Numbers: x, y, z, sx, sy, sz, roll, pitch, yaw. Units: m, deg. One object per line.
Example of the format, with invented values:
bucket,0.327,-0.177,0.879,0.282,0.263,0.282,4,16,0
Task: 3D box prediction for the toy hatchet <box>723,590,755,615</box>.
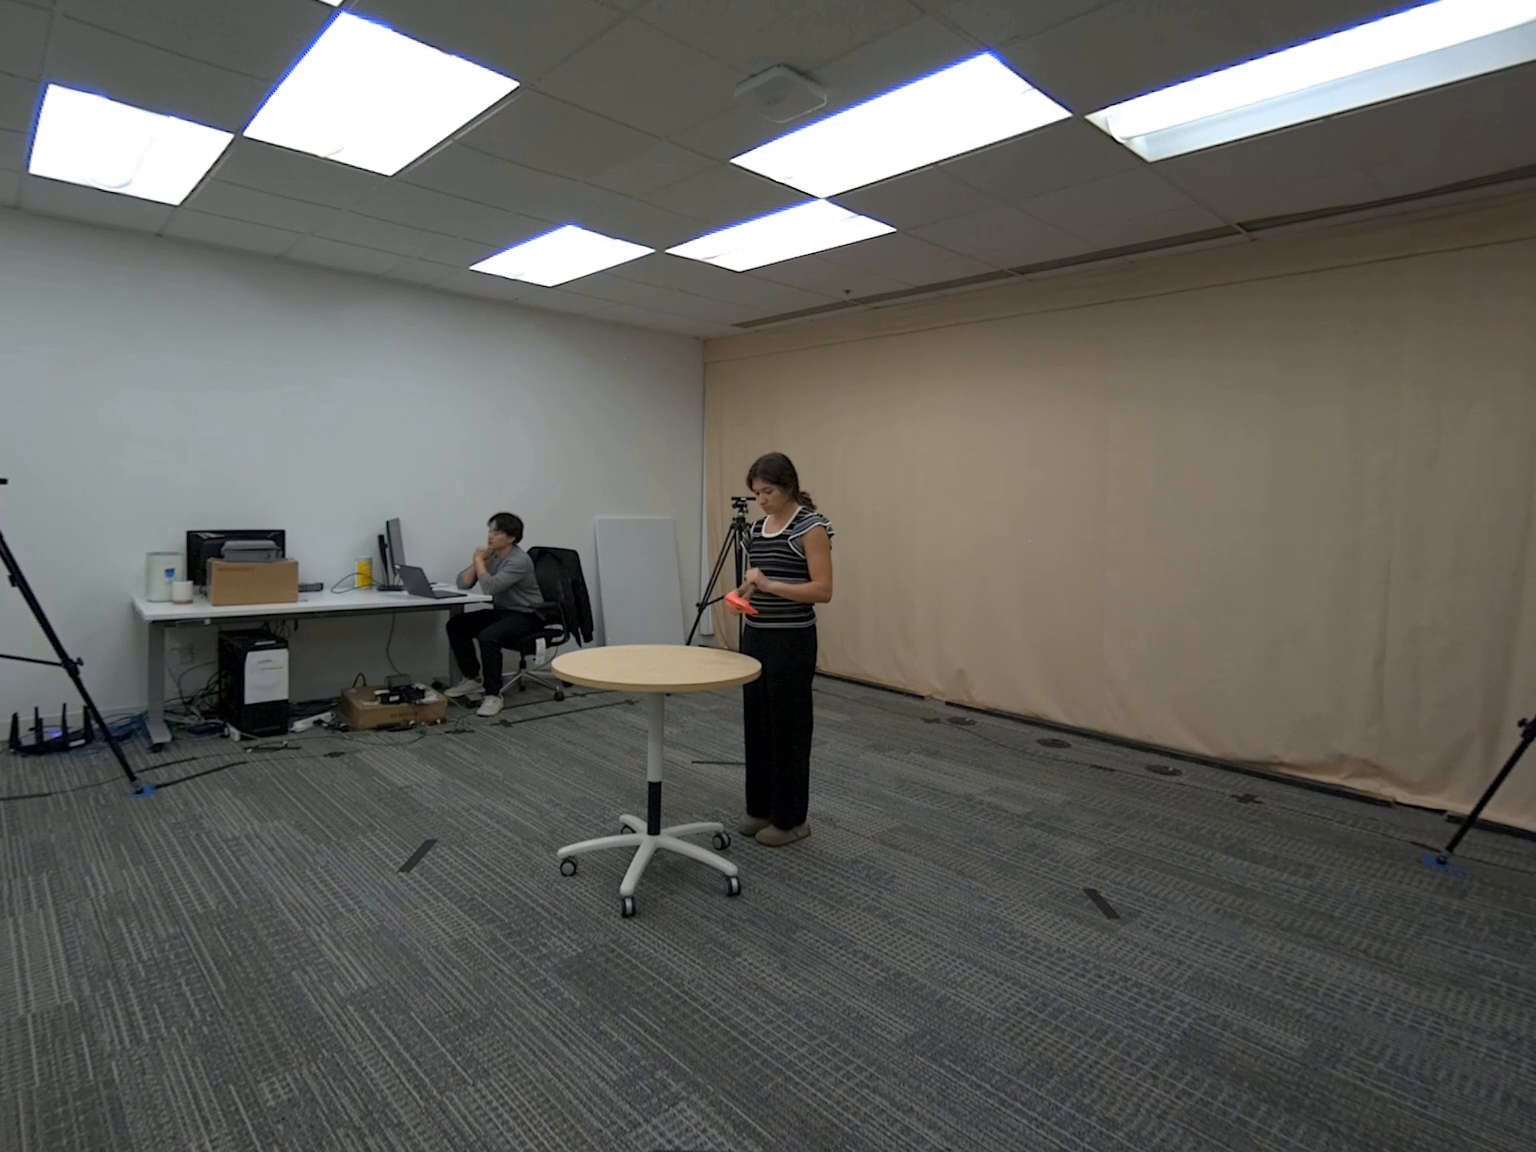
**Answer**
toy hatchet,-0.113,0.055,3.225,0.130,0.029,0.275,13,32,-8
